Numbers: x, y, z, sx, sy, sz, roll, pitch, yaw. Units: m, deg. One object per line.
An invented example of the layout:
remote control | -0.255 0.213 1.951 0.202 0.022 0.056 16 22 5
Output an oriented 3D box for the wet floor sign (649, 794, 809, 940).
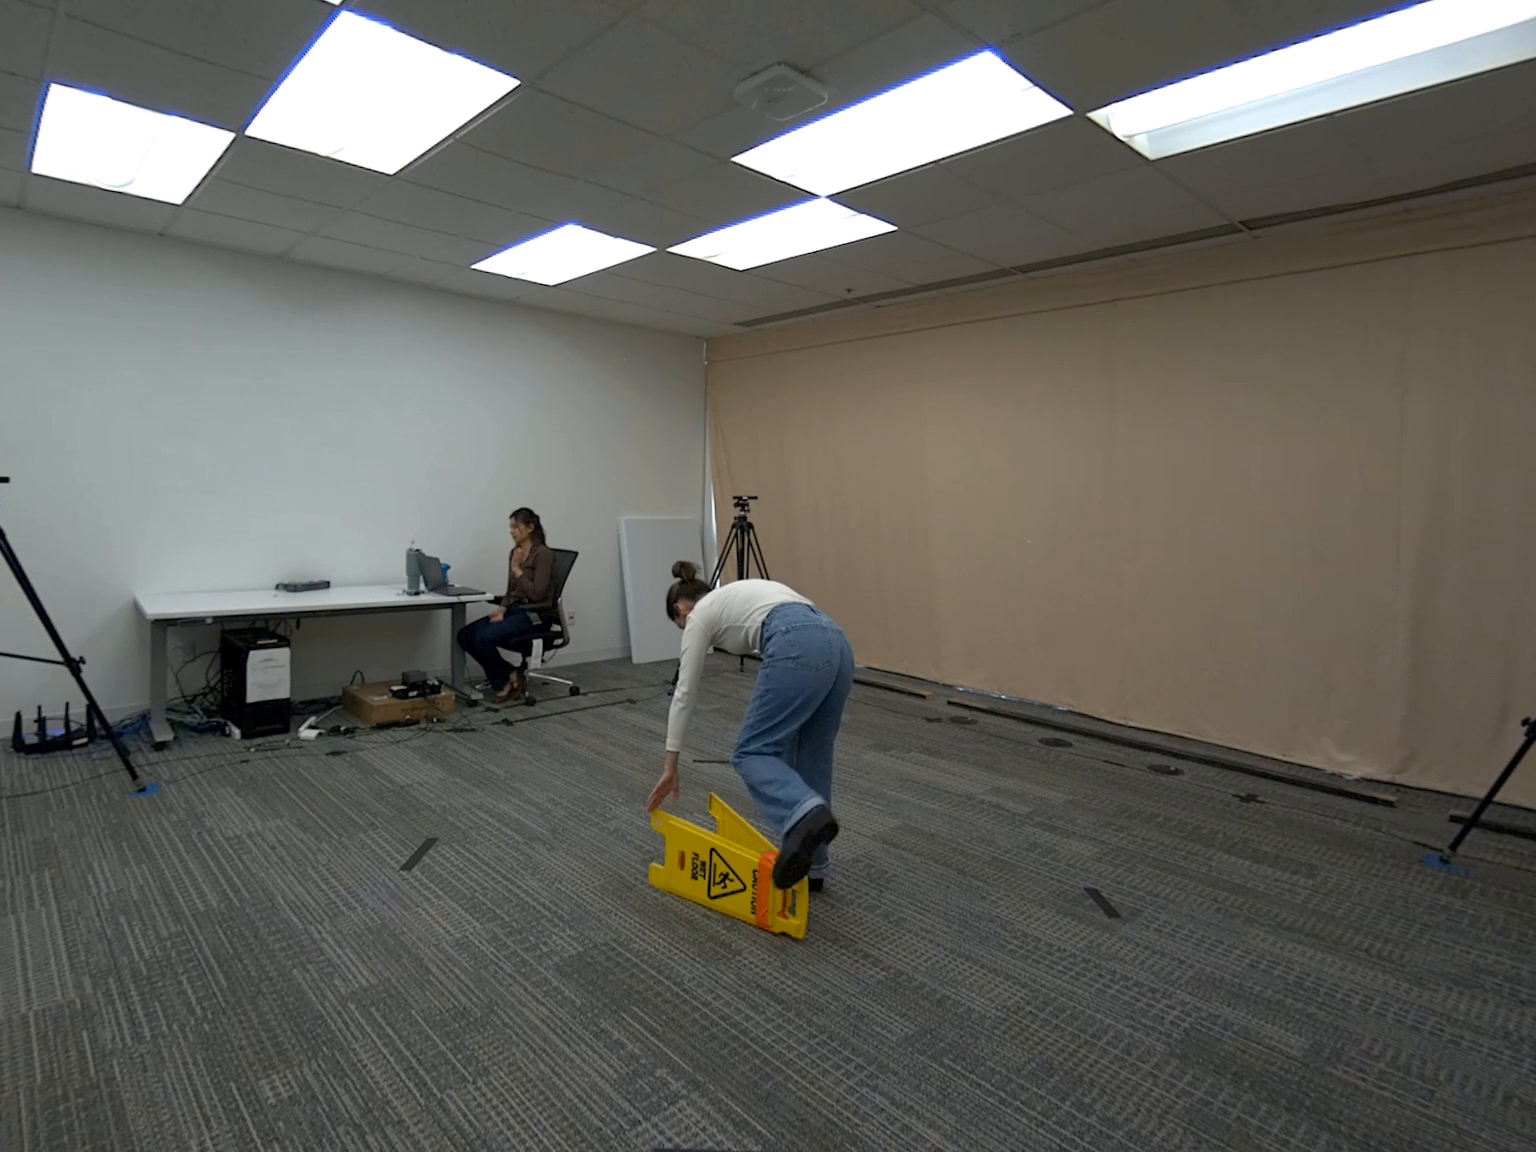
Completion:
wet floor sign | -0.108 0.998 2.855 0.283 0.281 0.663 -3 8 -41
